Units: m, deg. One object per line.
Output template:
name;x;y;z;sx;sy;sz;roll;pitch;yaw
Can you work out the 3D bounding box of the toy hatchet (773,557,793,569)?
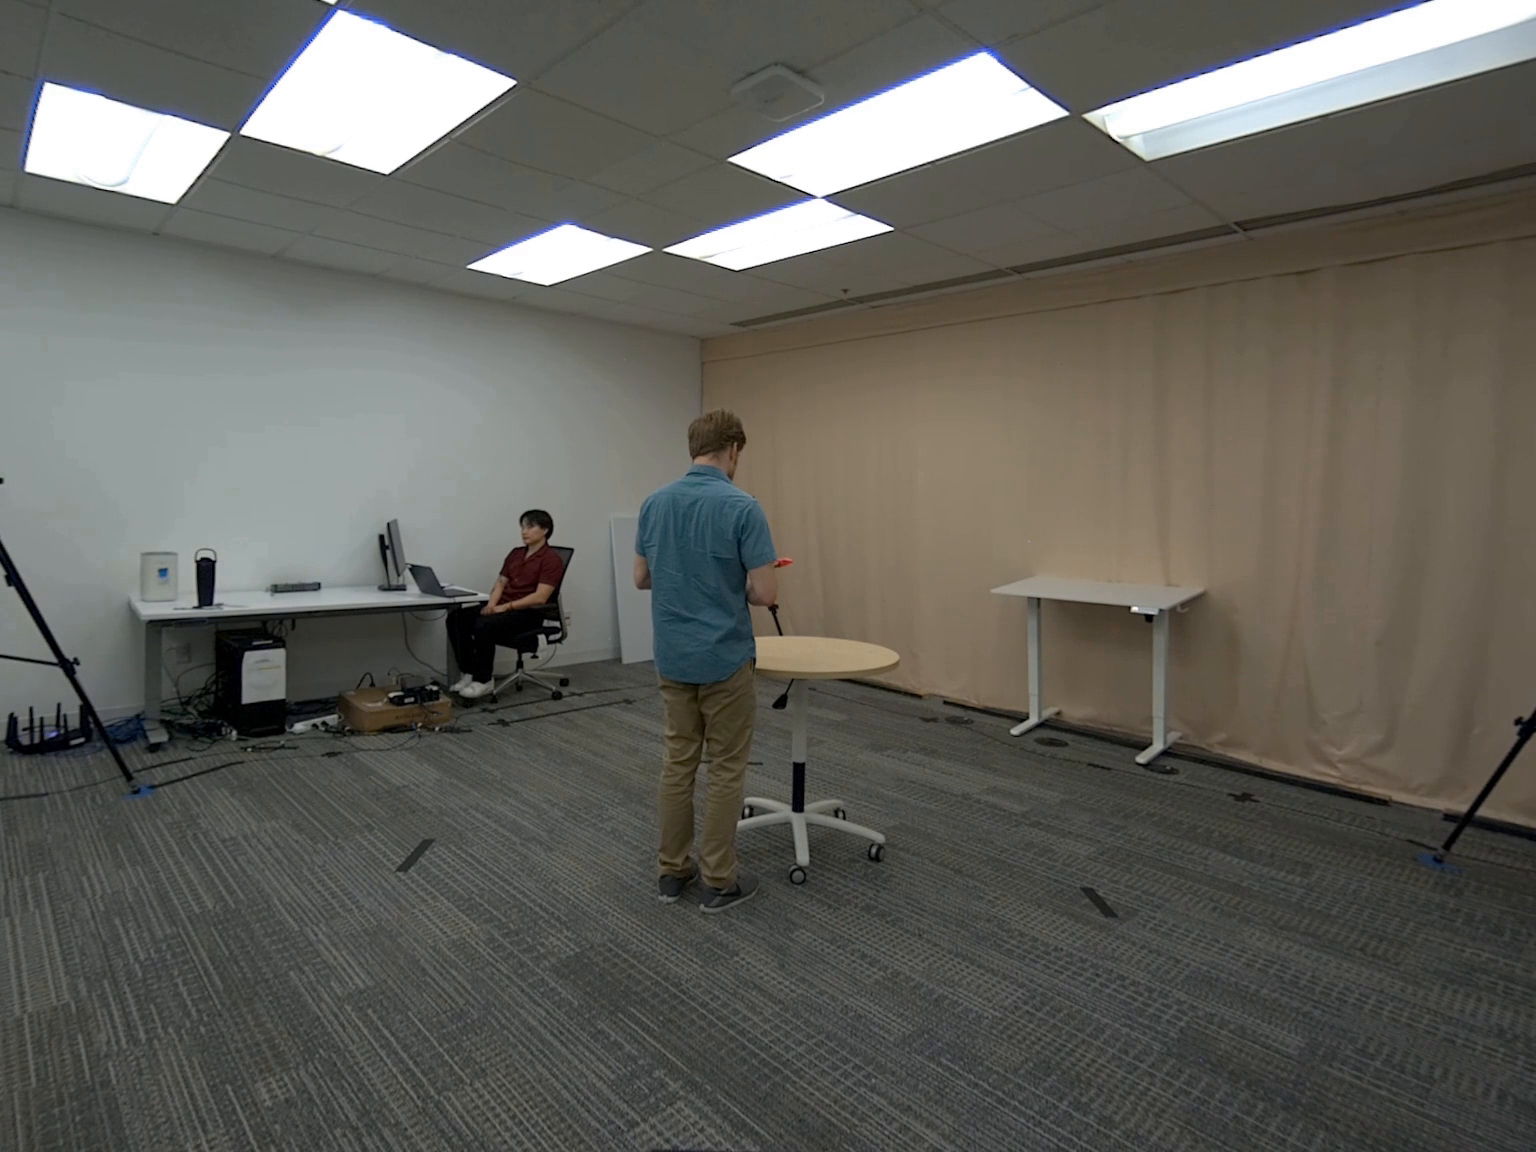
toy hatchet;-0.053;-0.018;3.197;0.267;0.029;0.133;-18;9;-19
